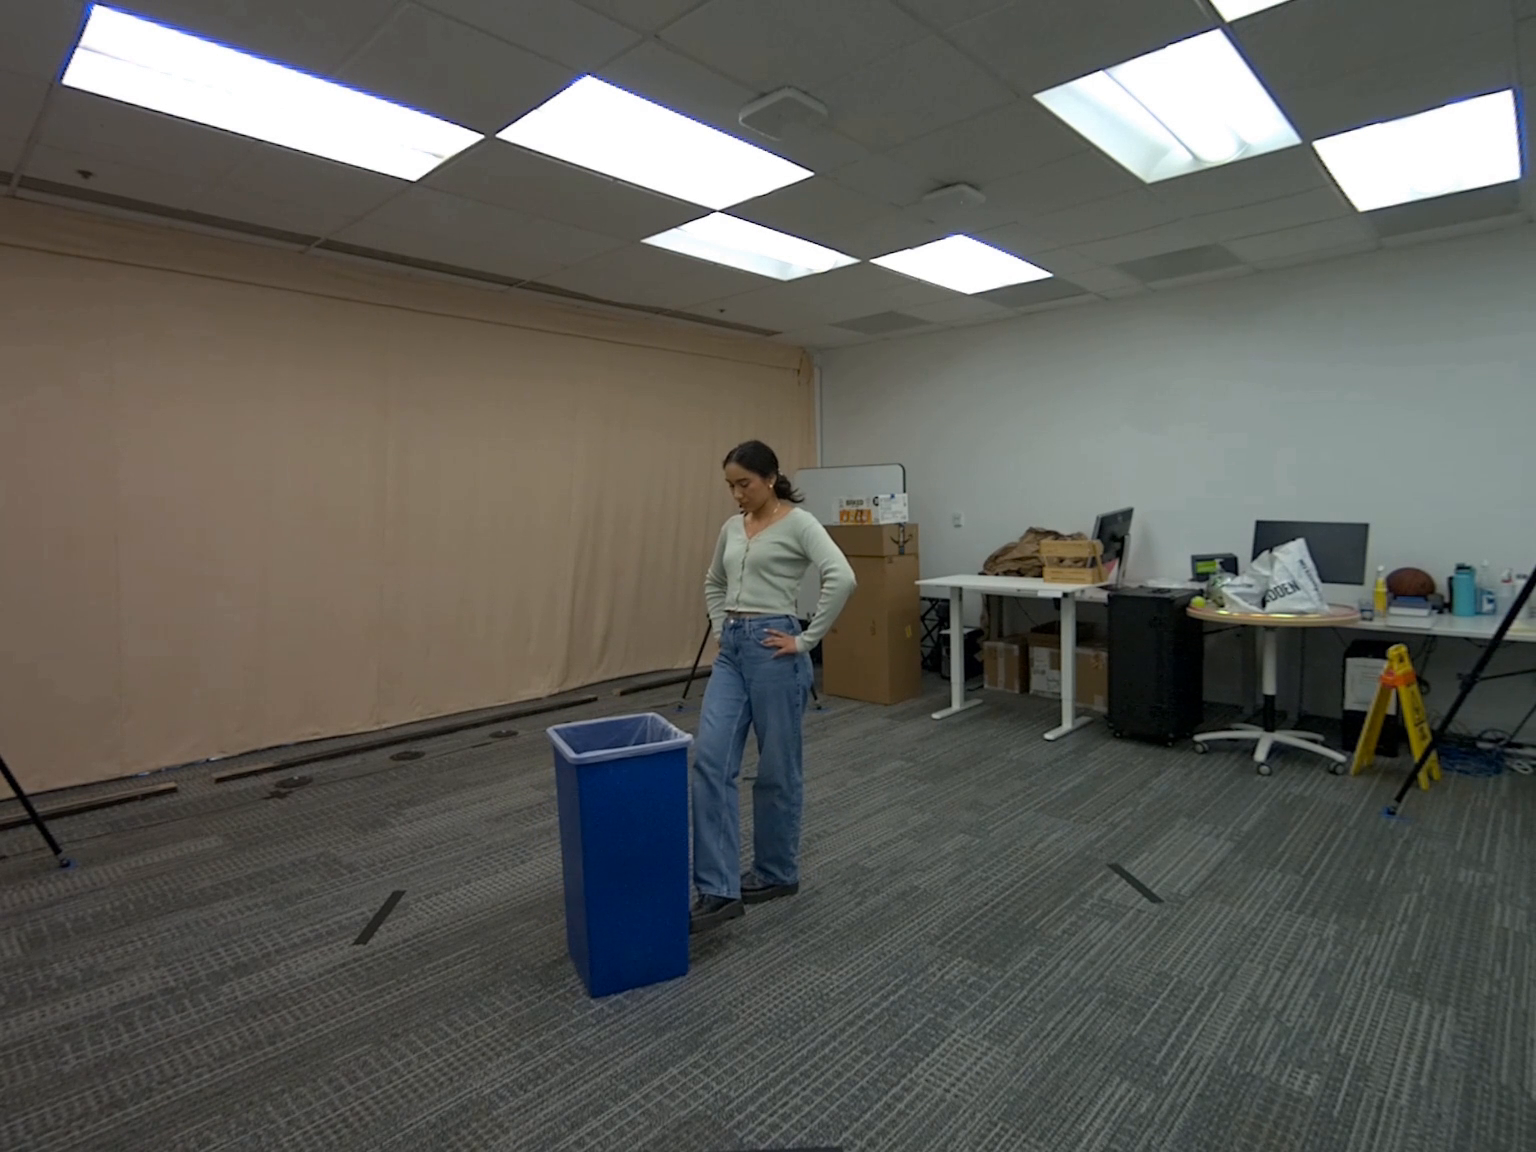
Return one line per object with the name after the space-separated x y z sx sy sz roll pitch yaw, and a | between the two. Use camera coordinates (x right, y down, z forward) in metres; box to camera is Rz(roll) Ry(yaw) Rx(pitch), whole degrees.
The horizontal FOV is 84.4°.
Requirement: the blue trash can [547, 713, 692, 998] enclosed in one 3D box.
-0.458 0.831 2.558 0.369 0.712 0.384 -4 4 -25 | blue trash can
